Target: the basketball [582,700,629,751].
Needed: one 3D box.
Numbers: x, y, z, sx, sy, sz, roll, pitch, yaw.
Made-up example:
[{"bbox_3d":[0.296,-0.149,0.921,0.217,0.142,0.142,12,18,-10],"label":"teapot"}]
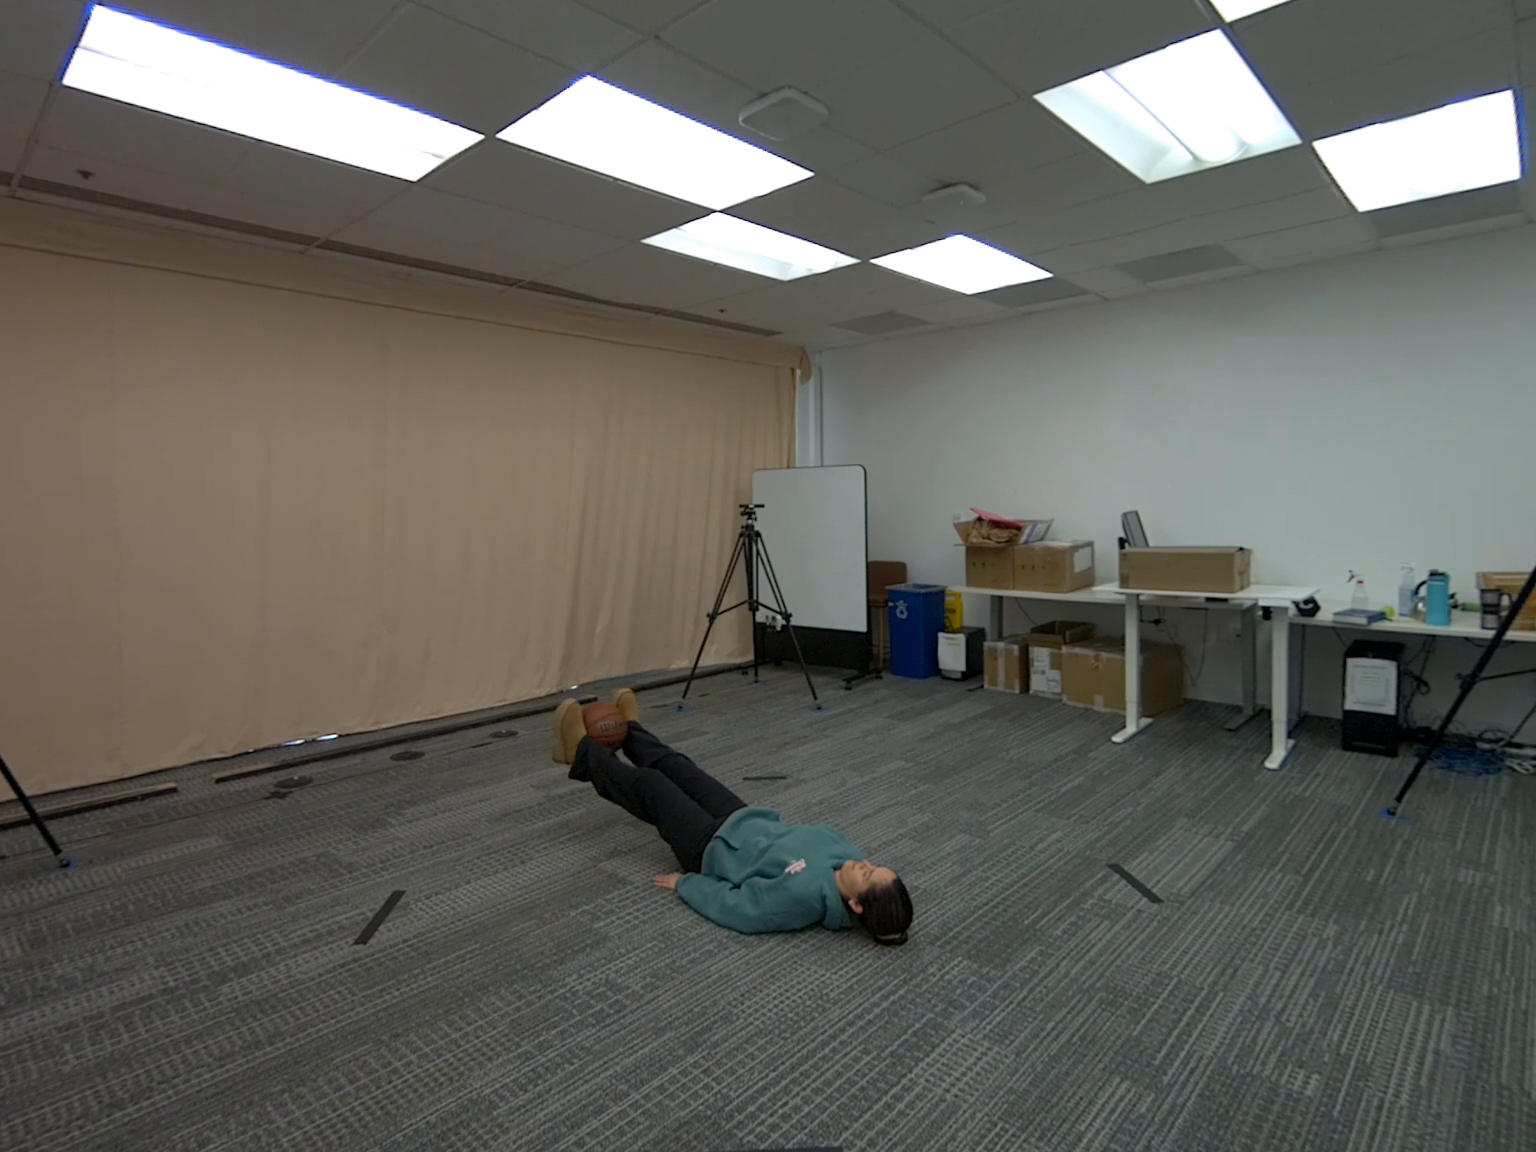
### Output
[{"bbox_3d":[-0.734,0.671,3.668,0.236,0.235,0.237,0,4,-2],"label":"basketball"}]
